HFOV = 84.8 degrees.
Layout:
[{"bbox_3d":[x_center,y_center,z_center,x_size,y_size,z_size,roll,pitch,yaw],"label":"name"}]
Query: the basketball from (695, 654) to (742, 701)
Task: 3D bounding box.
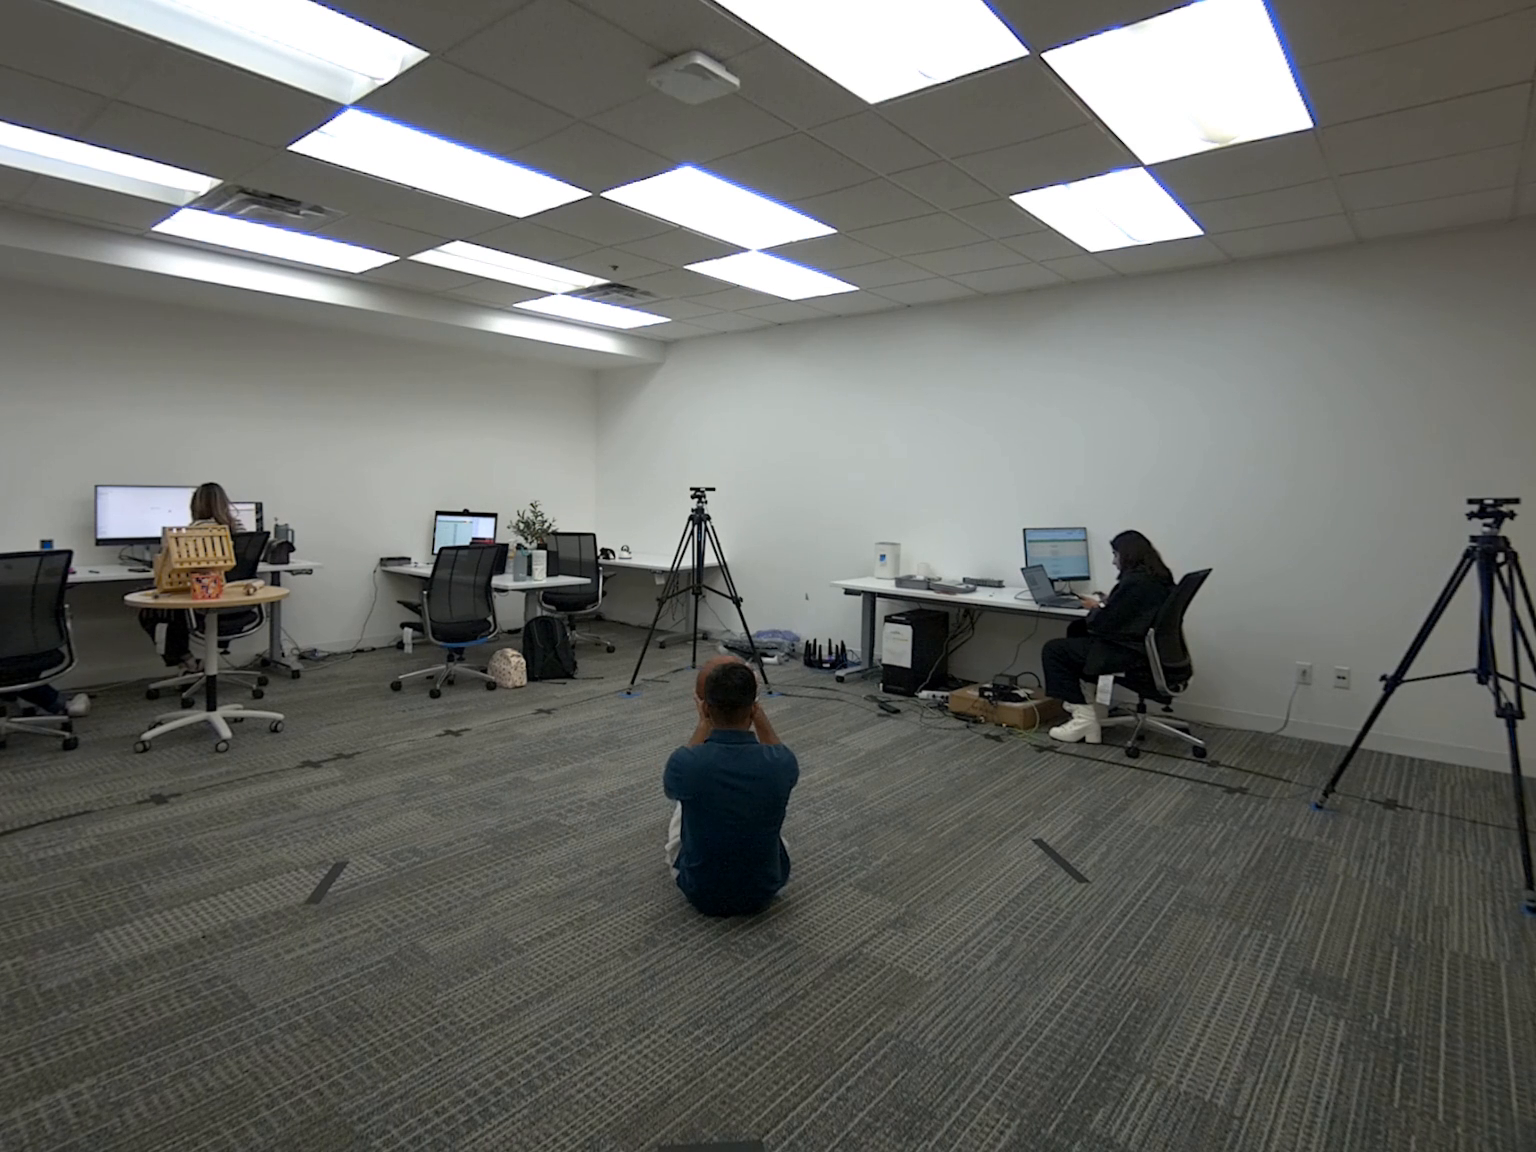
[{"bbox_3d":[-0.171,0.423,3.258,0.235,0.235,0.237,1,4,-2],"label":"basketball"}]
